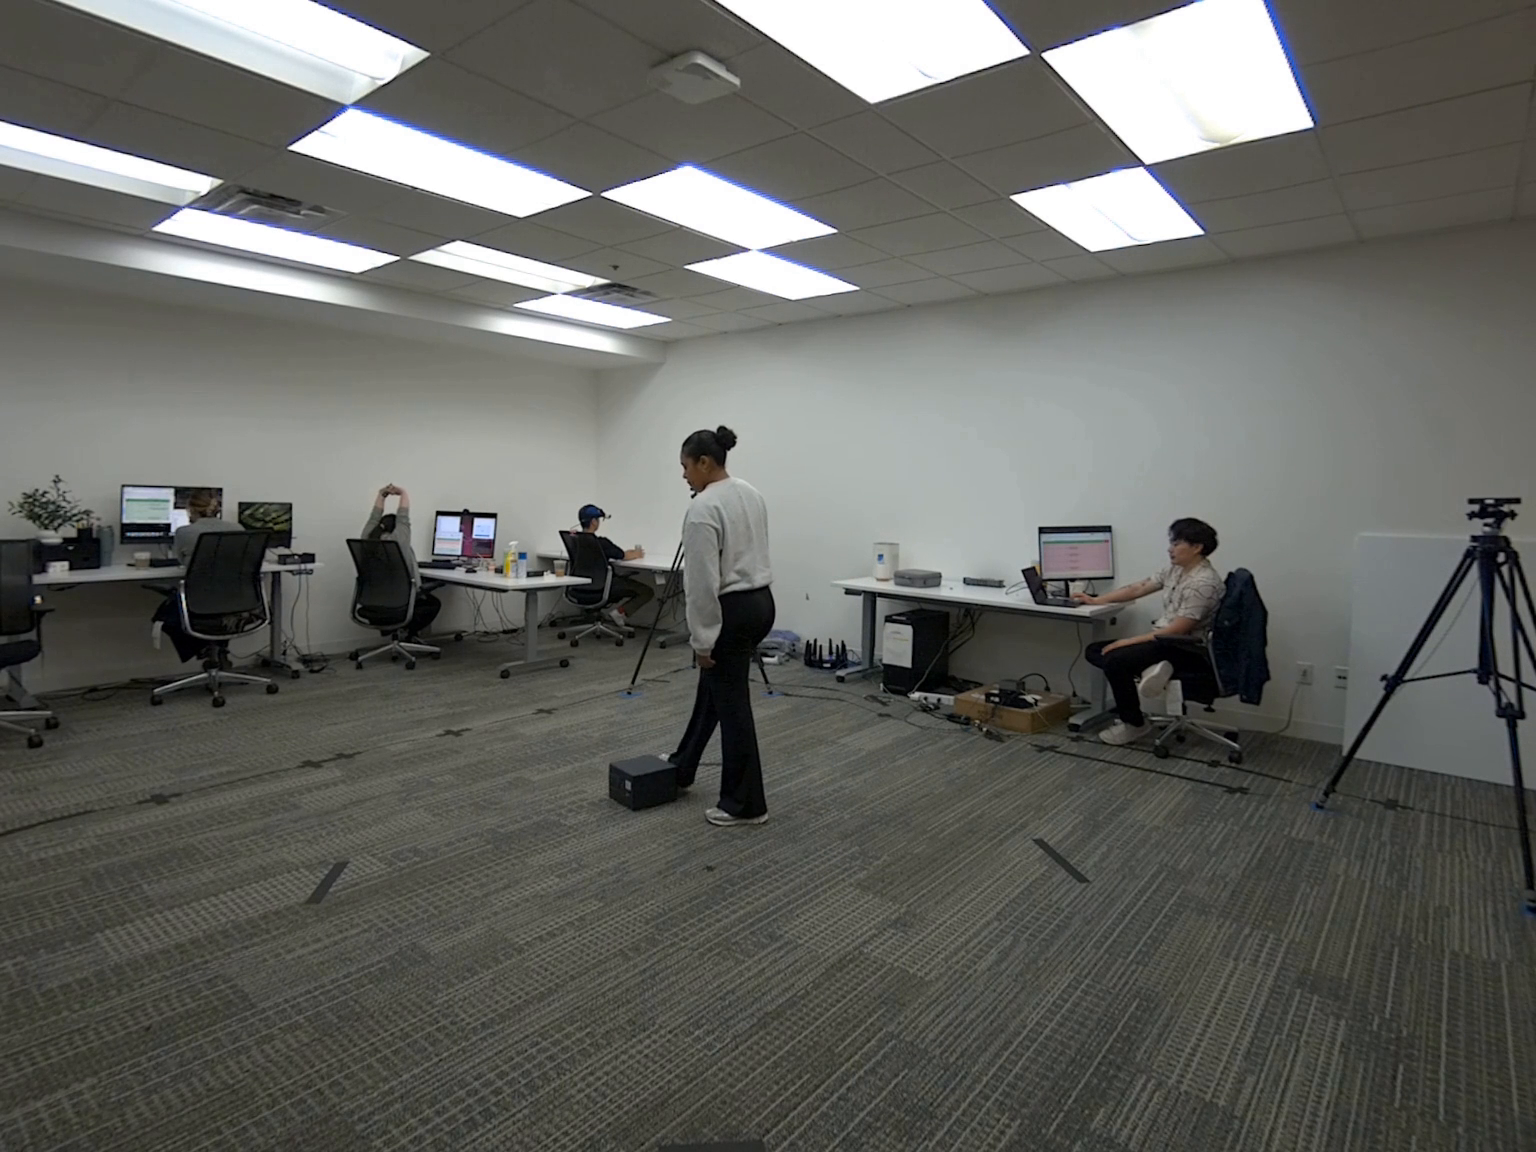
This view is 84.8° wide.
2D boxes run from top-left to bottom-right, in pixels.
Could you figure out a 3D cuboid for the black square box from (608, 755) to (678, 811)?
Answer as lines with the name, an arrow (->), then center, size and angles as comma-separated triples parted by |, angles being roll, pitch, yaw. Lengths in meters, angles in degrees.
black square box -> -0.560, 0.911, 3.797 | 0.221, 0.155, 0.224 | -3, 7, -39
